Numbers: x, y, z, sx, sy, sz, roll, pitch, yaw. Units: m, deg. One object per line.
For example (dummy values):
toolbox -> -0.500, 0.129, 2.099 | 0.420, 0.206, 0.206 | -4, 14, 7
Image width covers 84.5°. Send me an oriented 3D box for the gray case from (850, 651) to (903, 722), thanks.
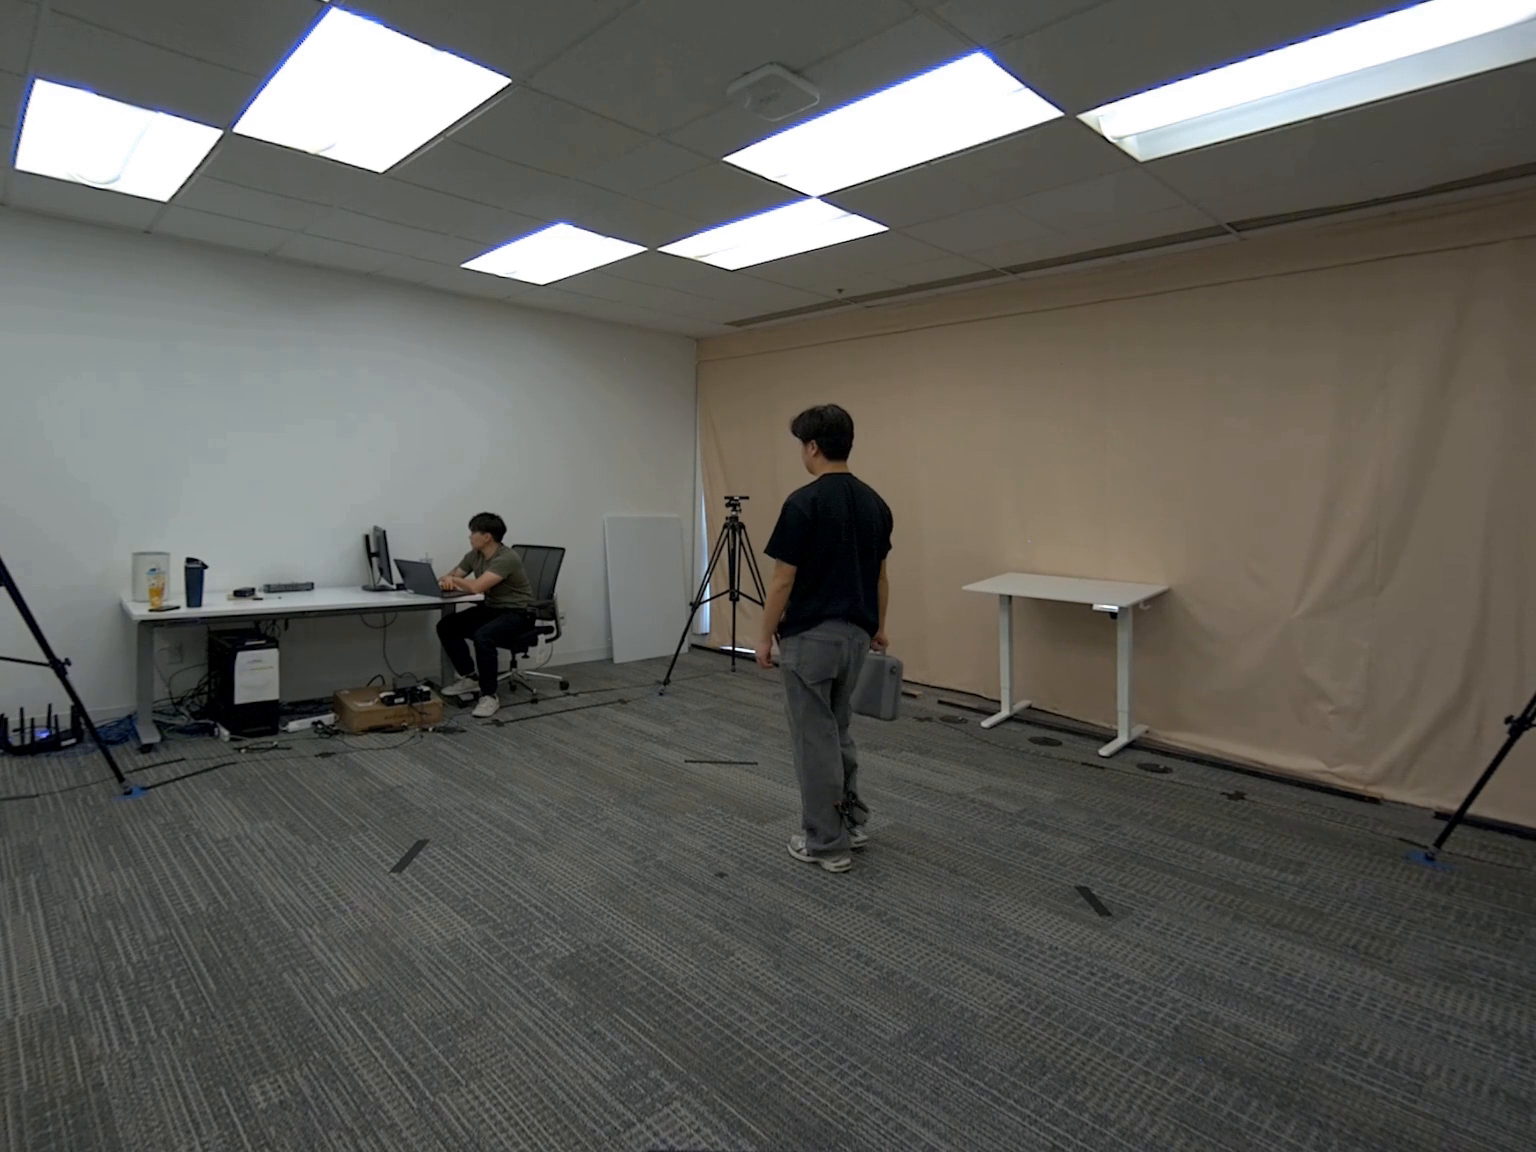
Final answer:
gray case -> 0.421, 0.435, 3.453 | 0.101, 0.287, 0.268 | 5, -2, -29
